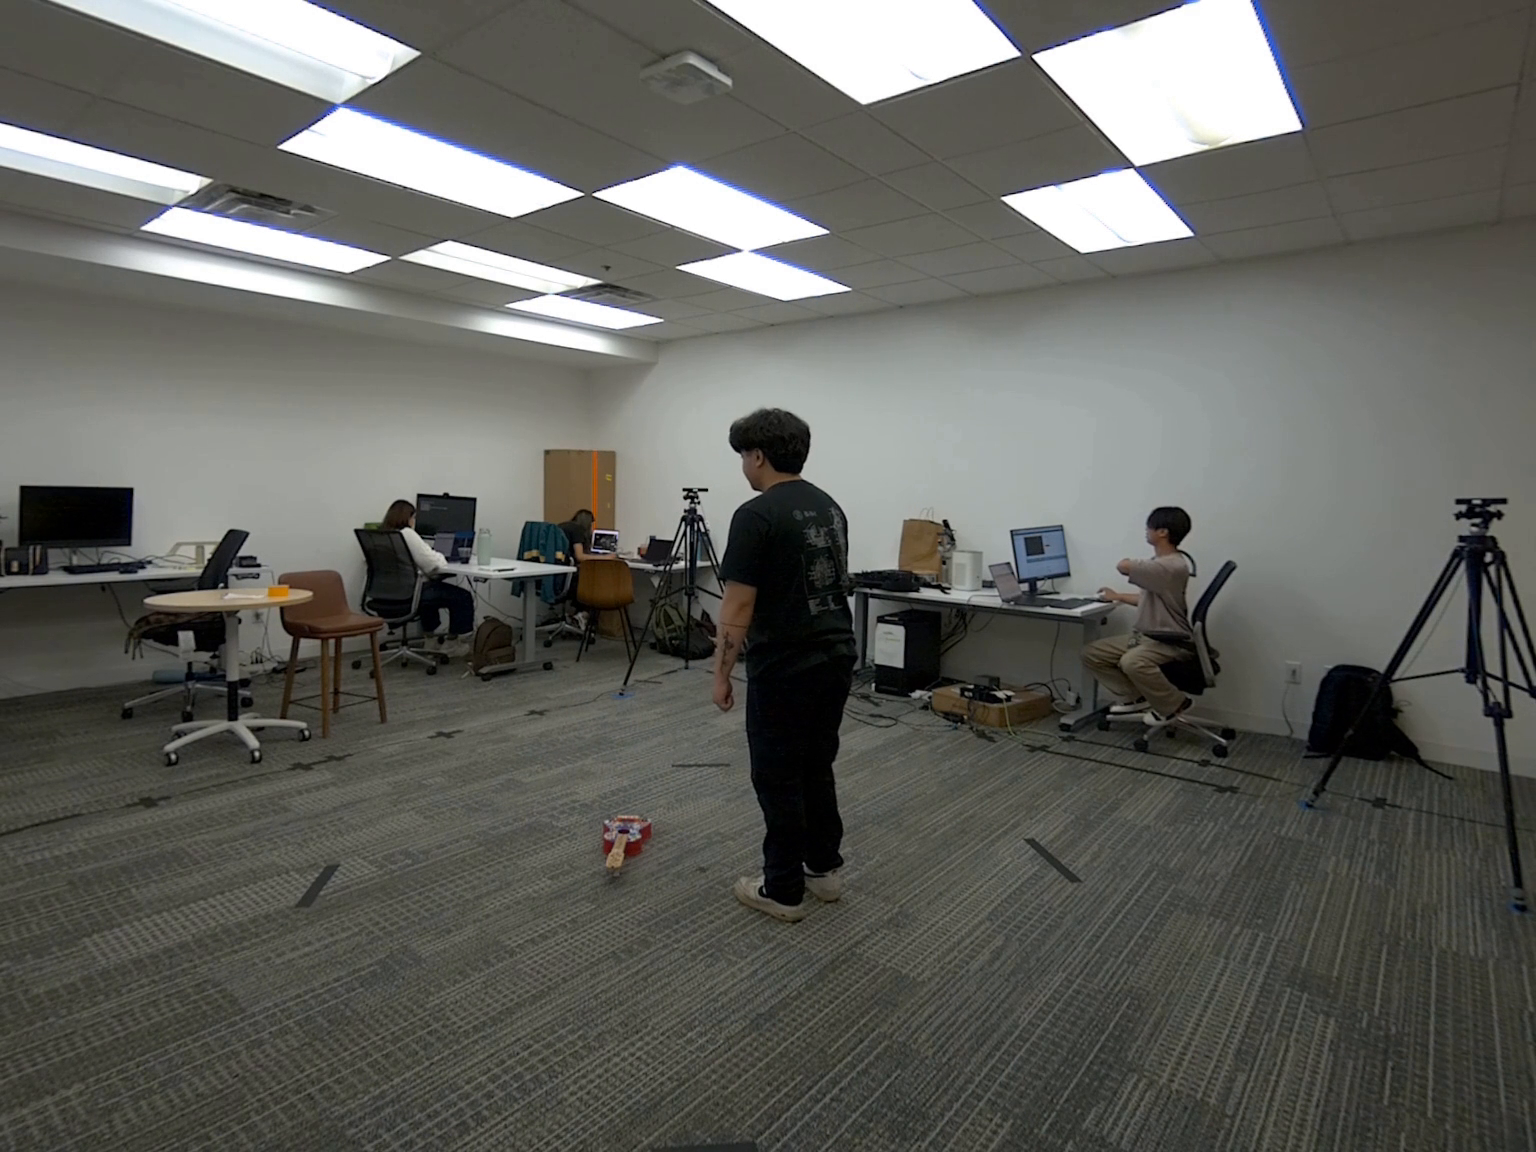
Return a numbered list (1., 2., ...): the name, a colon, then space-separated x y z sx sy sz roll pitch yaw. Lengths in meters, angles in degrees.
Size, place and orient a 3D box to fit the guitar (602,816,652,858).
1. guitar: -0.592 1.017 3.221 0.195 0.070 0.495 2 5 6
